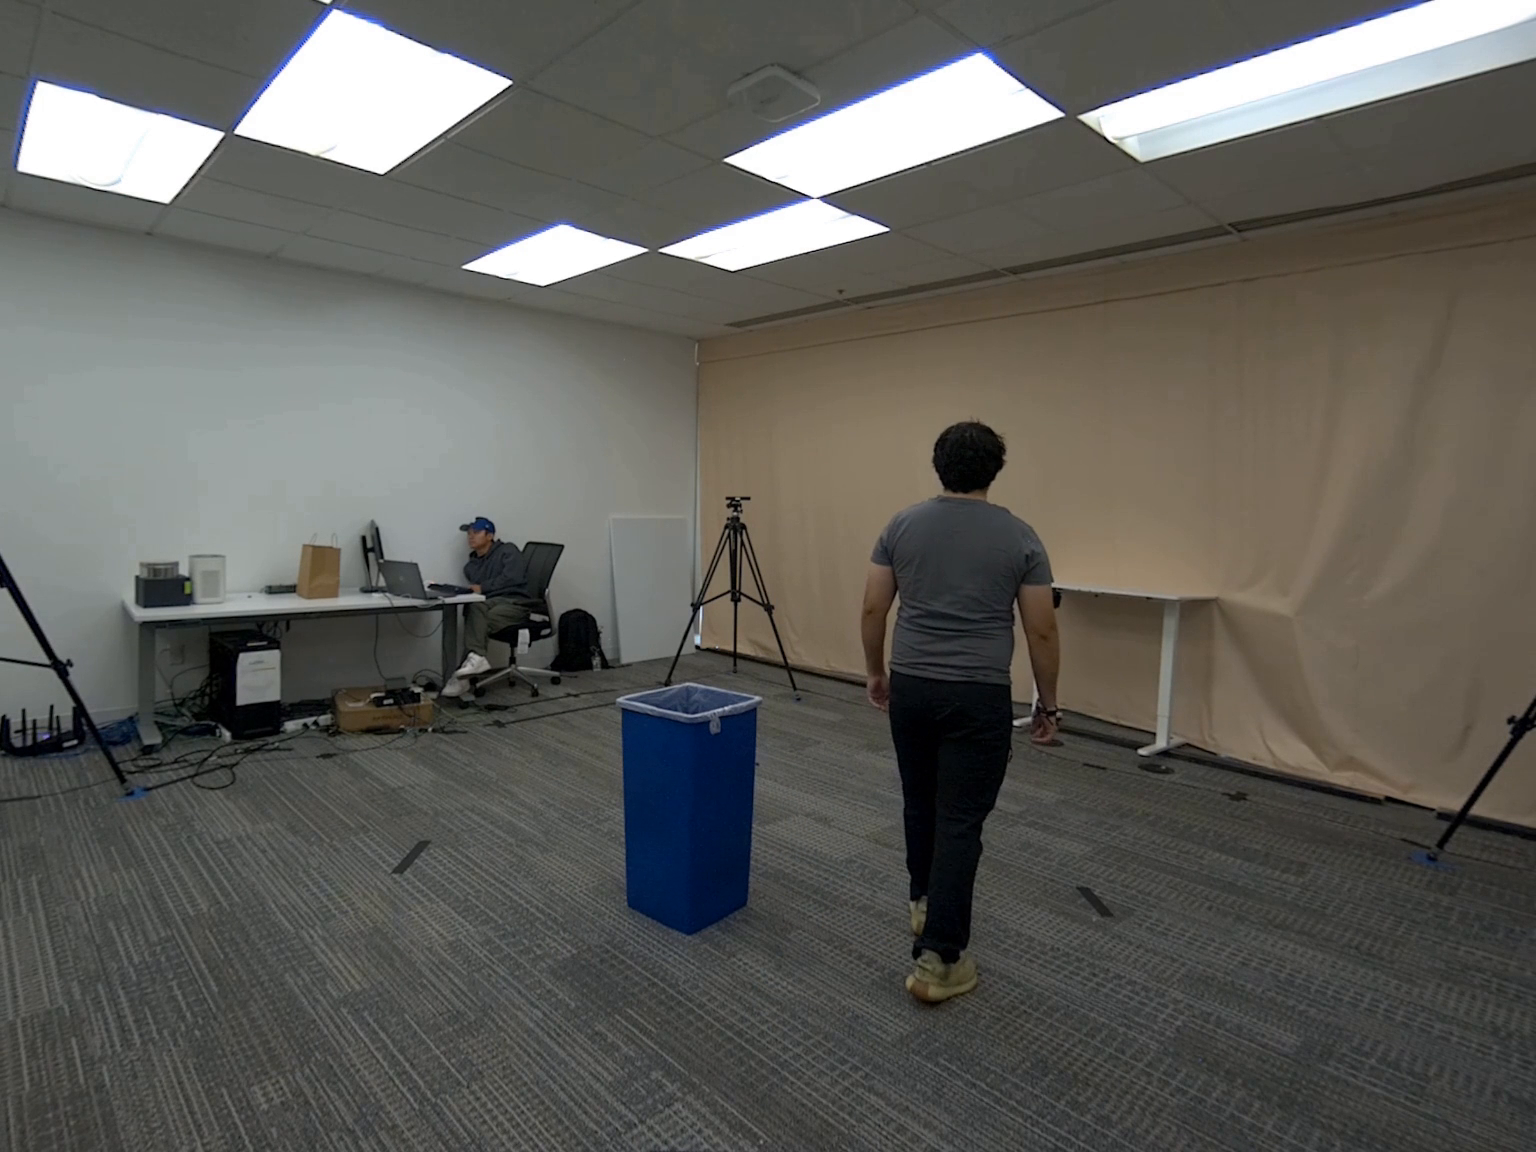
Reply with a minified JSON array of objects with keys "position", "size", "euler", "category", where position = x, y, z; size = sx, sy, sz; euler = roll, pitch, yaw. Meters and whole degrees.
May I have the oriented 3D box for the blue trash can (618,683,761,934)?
[{"position":[-0.280,0.768,2.864],"size":[0.383,0.712,0.369],"euler":[4,4,39],"category":"blue trash can"}]
